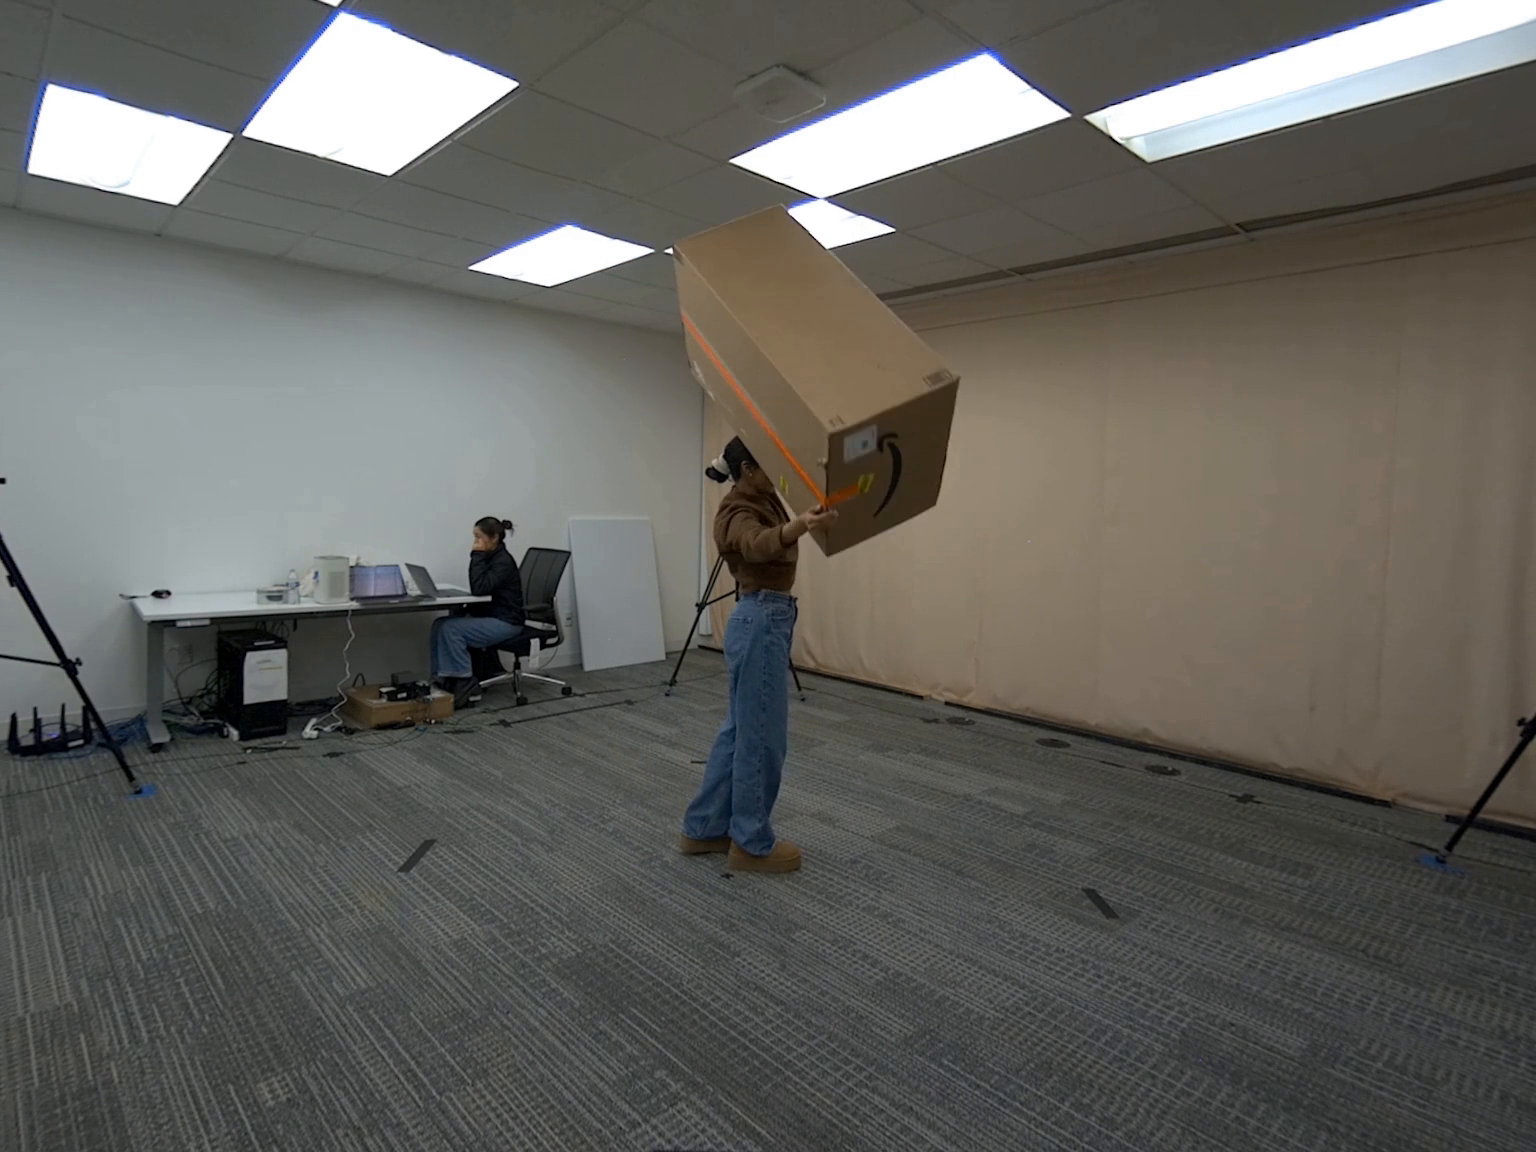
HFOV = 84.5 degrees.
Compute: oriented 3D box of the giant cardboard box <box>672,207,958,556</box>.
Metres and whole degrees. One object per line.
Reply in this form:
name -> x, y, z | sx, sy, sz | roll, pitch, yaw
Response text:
giant cardboard box -> 0.117, -0.661, 2.798 | 0.424, 1.056, 0.564 | -25, -34, -13
